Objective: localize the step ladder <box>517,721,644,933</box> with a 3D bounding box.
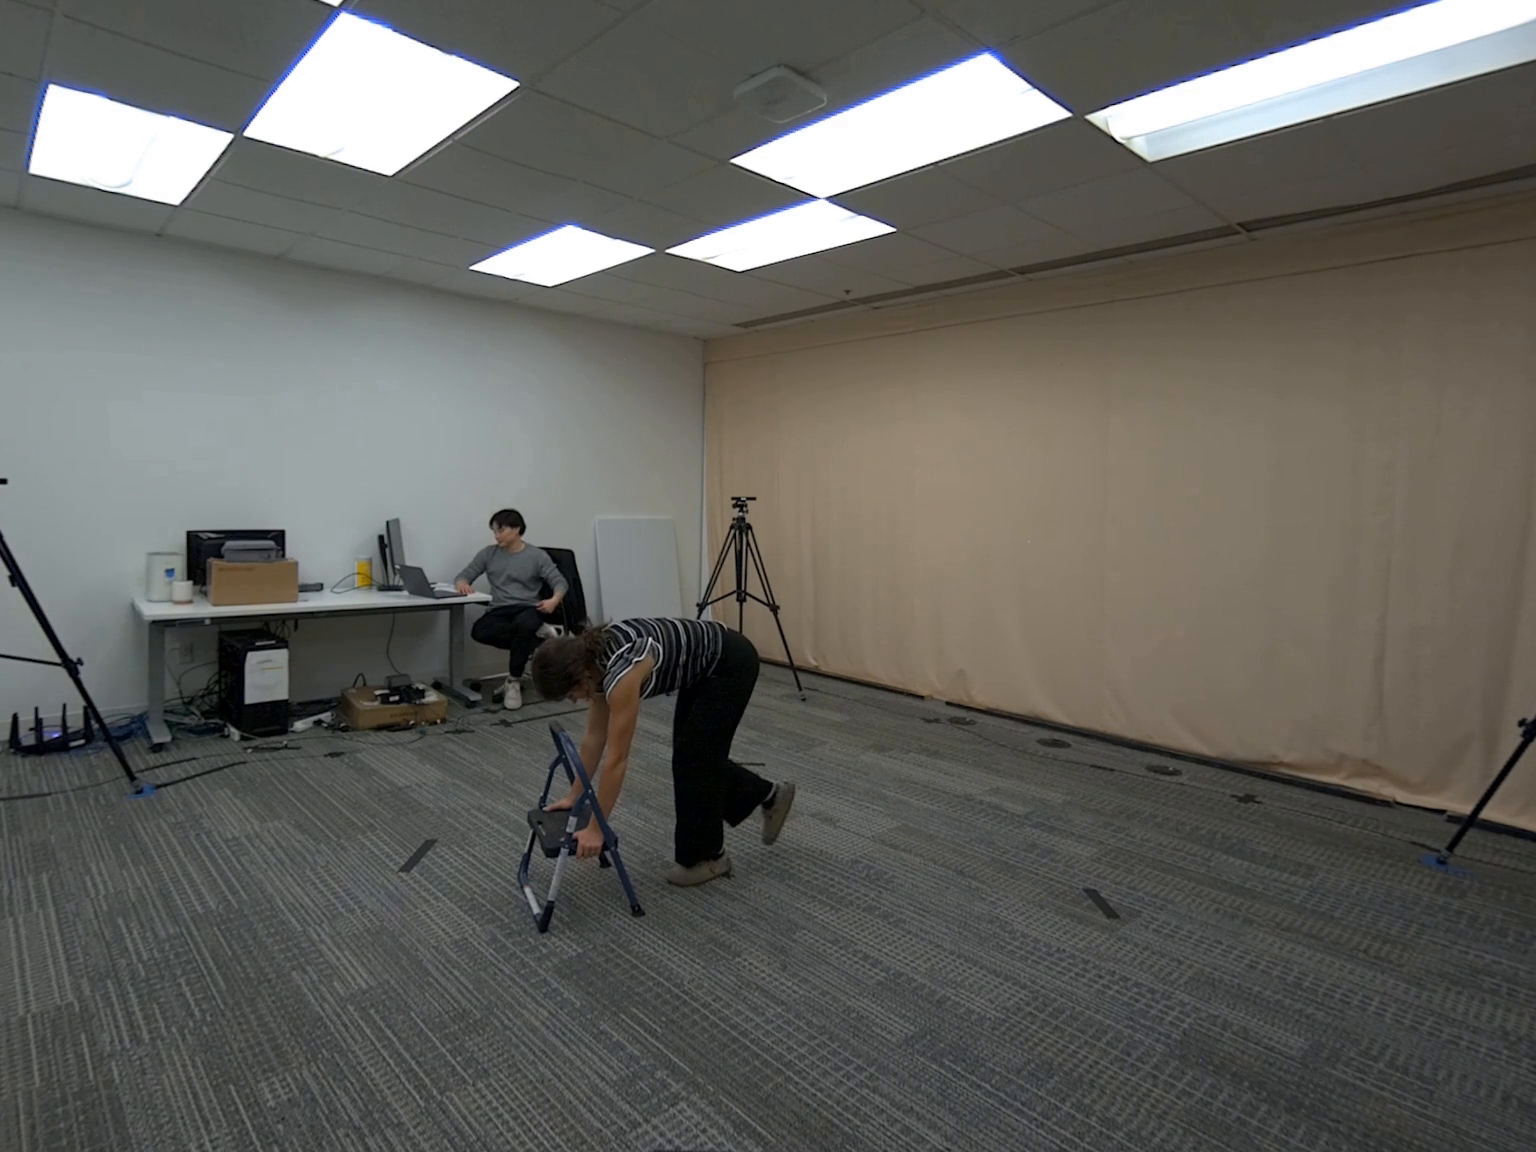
[{"bbox_3d":[-0.659,0.814,2.900,0.343,0.604,0.440,-1,4,-27],"label":"step ladder"}]
